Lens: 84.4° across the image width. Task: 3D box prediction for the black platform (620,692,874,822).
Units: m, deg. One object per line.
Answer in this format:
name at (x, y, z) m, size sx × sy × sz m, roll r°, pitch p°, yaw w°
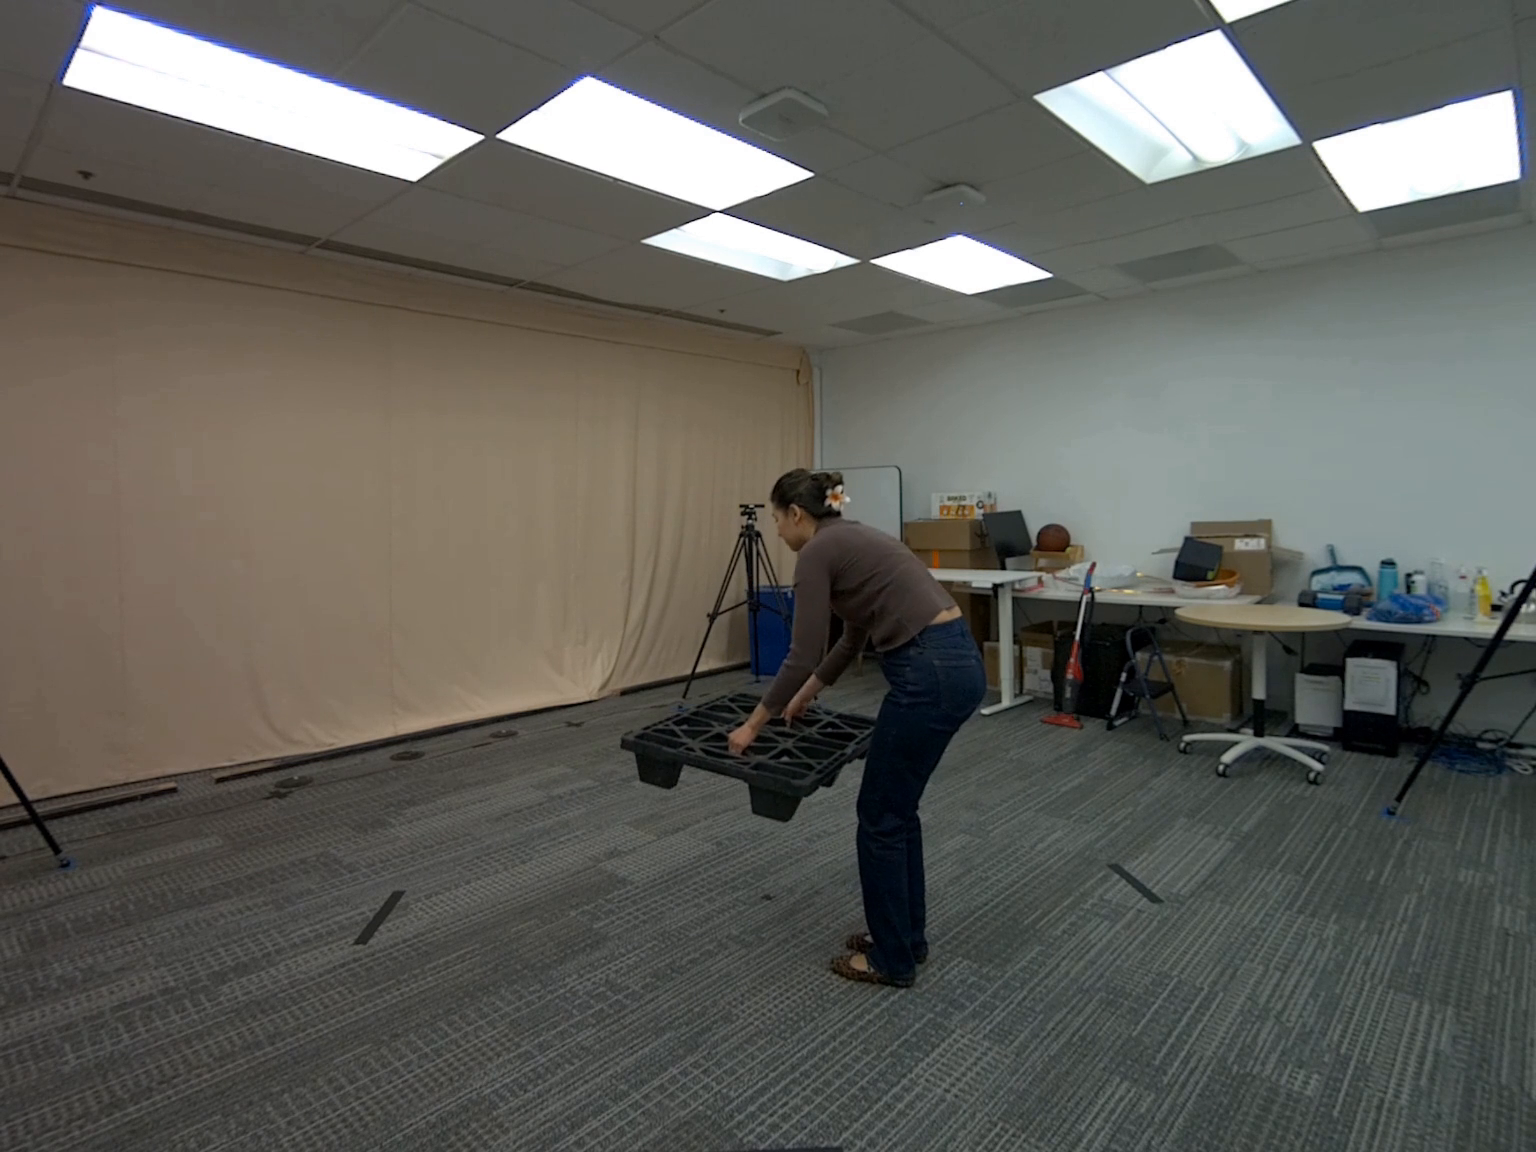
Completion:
black platform at (-0.007, 0.555, 2.694) m, size 0.622 × 0.143 × 0.786 m, roll 7°, pitch 6°, yaw 26°
